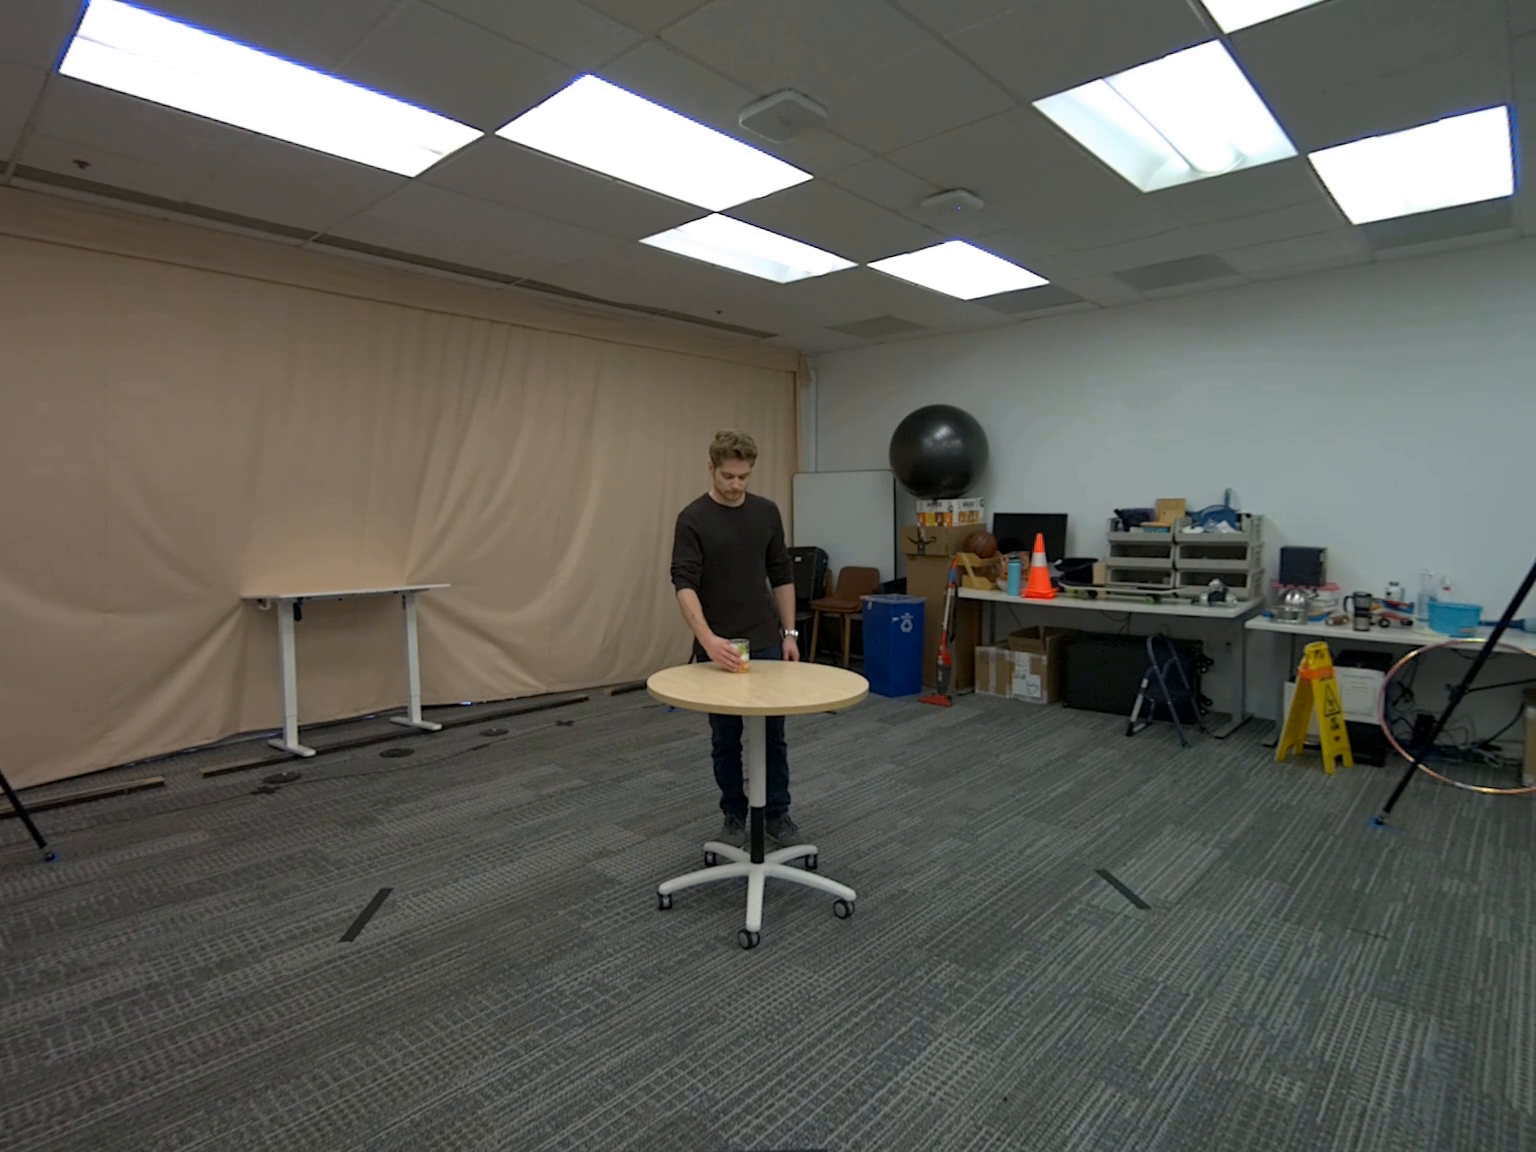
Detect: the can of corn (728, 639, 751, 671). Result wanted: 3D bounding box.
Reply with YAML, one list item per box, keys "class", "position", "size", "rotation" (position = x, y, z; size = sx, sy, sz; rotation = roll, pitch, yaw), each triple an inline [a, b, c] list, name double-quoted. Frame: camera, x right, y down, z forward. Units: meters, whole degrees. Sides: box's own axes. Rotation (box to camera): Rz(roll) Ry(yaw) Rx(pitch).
- class: "can of corn"
  position: [-0.109, 0.295, 3.085]
  size: [0.074, 0.110, 0.074]
  rotation: [-6, 7, -1]
